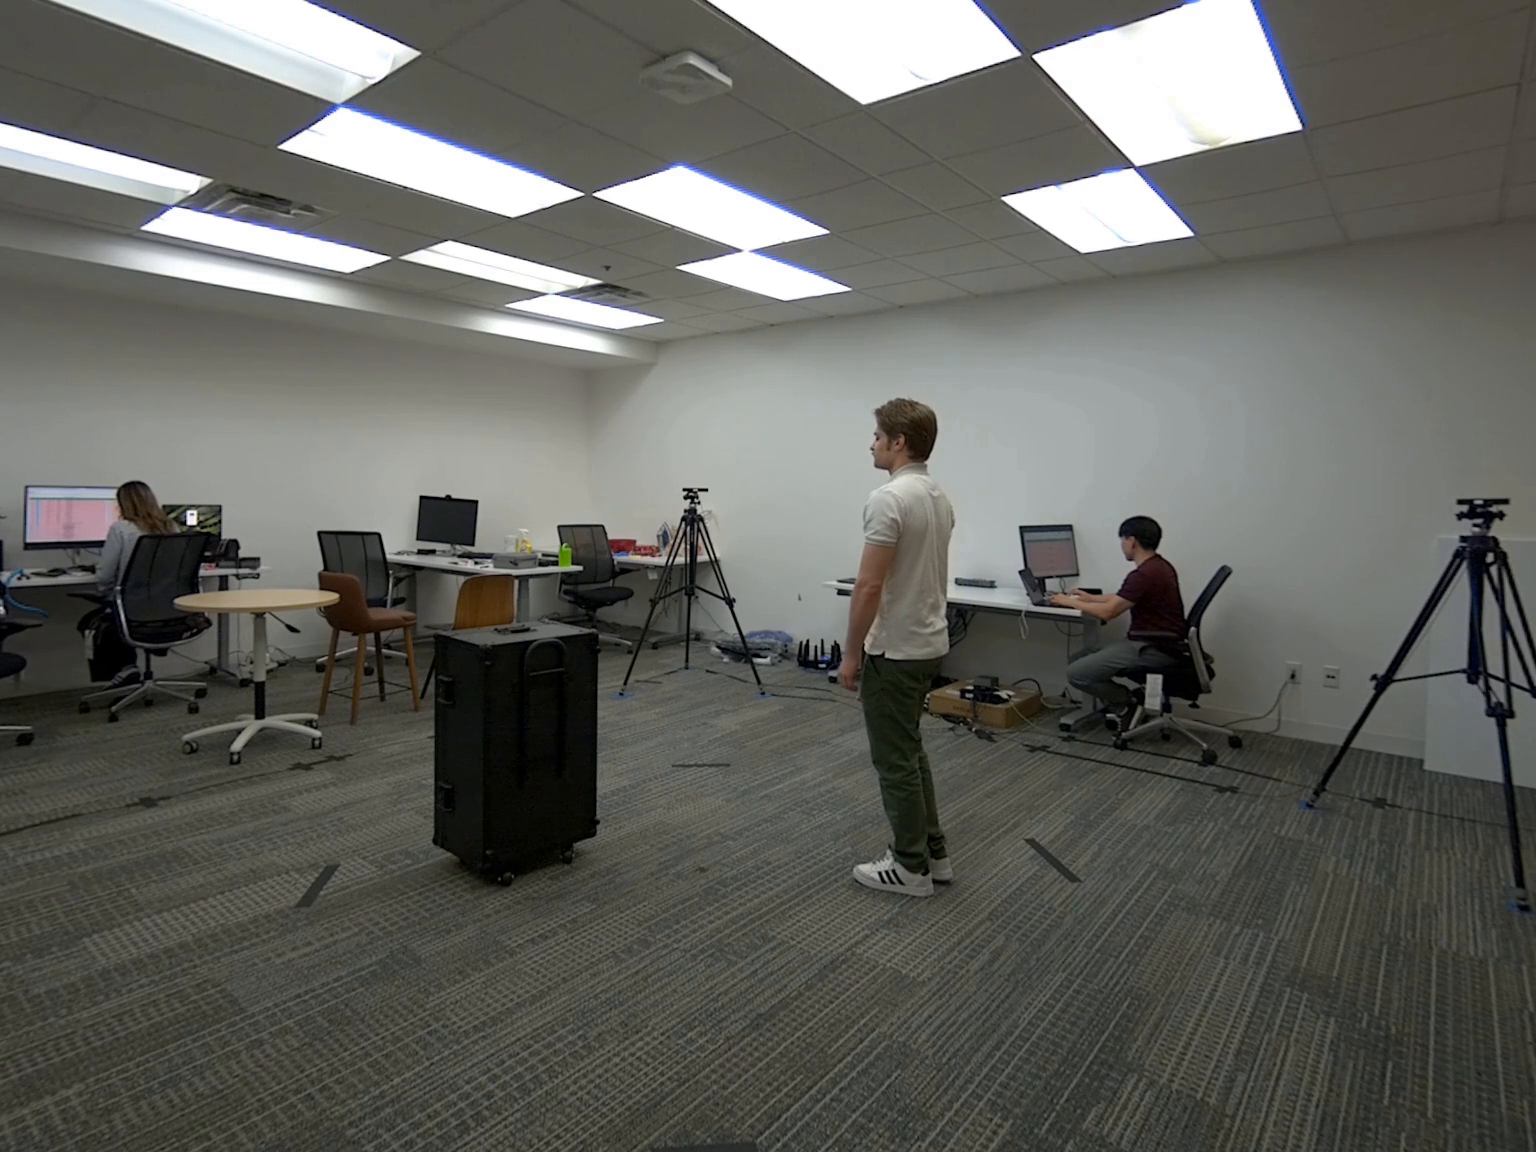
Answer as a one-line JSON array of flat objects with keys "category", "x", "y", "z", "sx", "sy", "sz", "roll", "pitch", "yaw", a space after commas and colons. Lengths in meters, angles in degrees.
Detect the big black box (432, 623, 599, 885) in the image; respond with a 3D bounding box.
[{"category": "big black box", "x": -0.942, "y": 0.634, "z": 3.160, "sx": 0.398, "sy": 0.866, "sz": 0.507, "roll": 5, "pitch": 5, "yaw": 43}]
